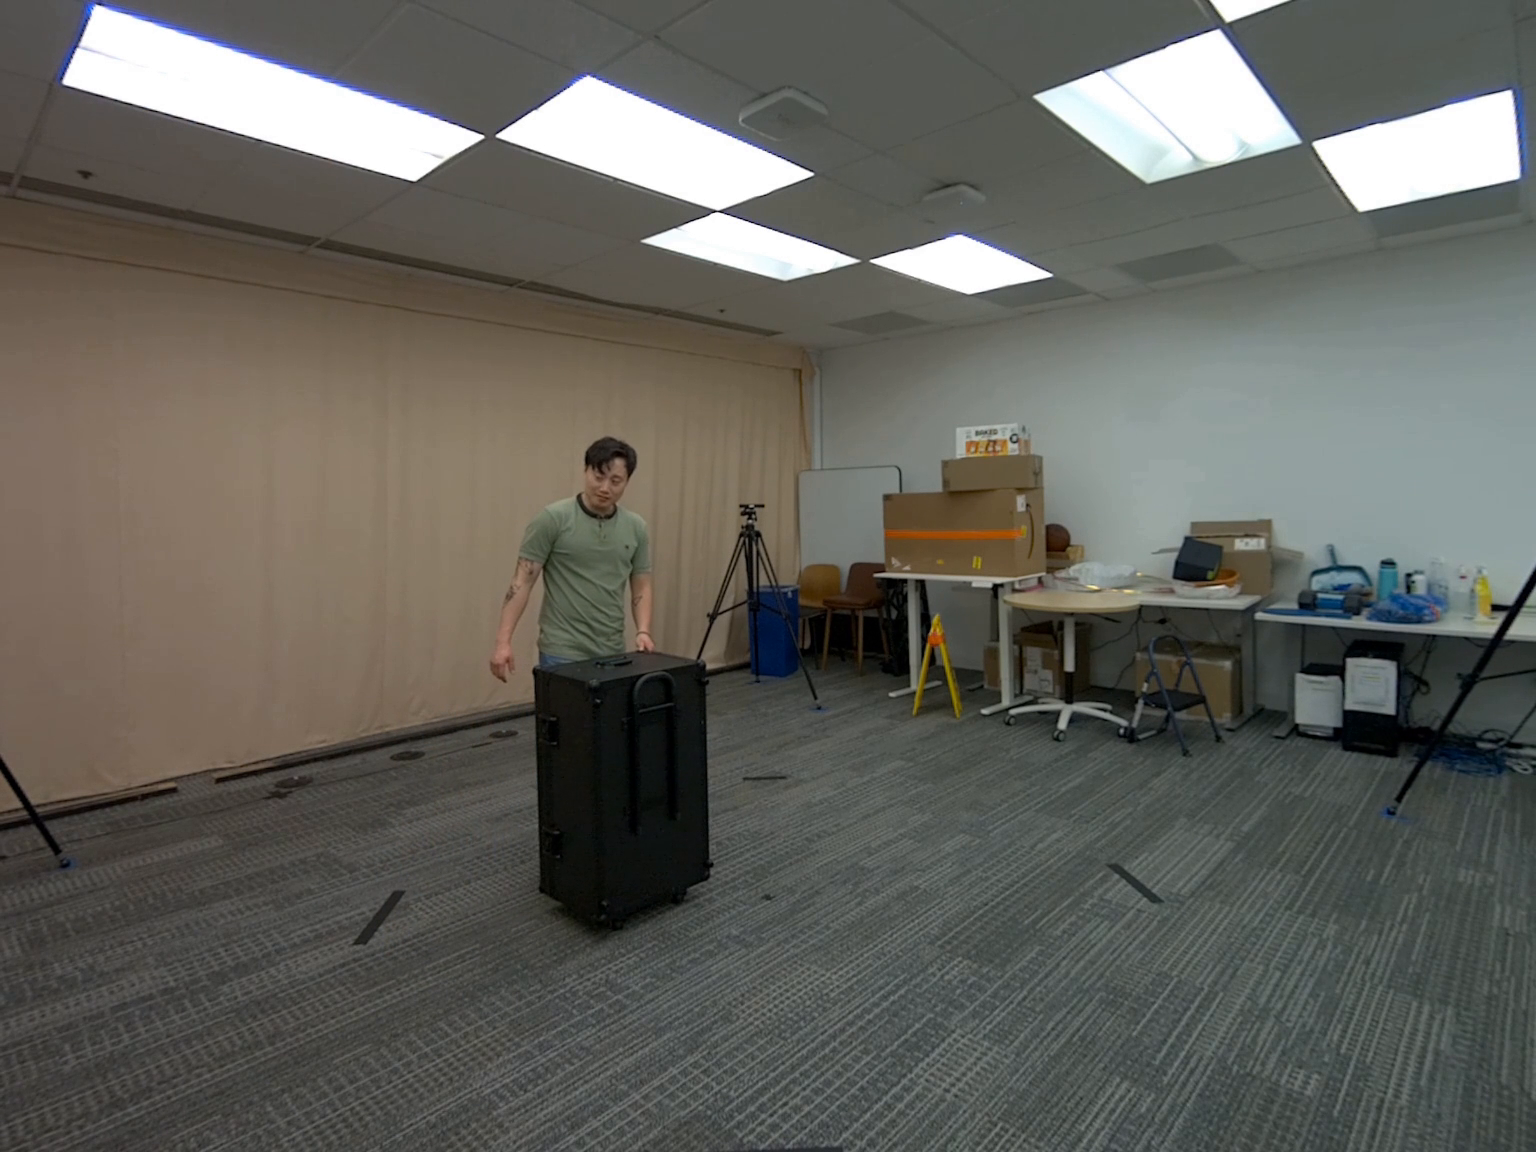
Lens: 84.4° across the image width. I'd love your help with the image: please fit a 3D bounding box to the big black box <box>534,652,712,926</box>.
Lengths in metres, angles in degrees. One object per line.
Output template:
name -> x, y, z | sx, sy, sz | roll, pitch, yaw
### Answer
big black box -> -0.486, 0.729, 2.919 | 0.505, 0.859, 0.409 | -4, 5, -45
